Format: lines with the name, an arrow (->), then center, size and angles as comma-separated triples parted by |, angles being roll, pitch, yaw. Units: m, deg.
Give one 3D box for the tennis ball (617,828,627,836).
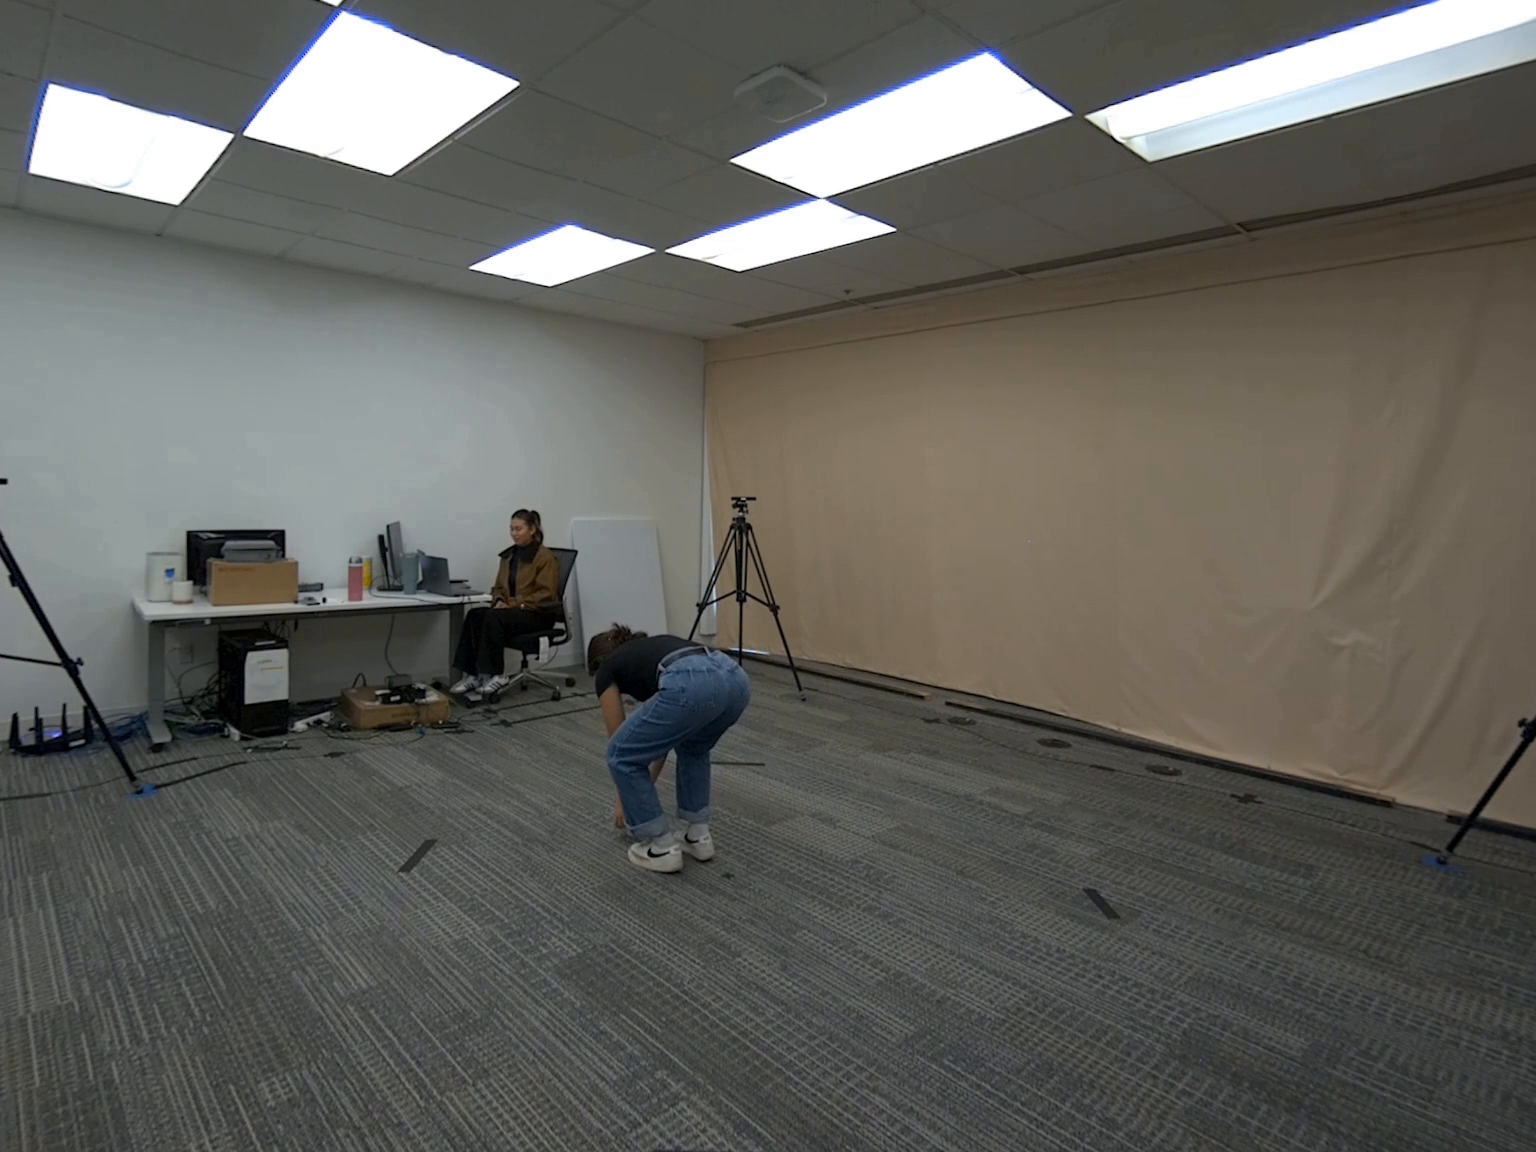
tennis ball -> -0.569, 1.008, 3.442 | 0.066, 0.066, 0.067 | 1, 4, -1
